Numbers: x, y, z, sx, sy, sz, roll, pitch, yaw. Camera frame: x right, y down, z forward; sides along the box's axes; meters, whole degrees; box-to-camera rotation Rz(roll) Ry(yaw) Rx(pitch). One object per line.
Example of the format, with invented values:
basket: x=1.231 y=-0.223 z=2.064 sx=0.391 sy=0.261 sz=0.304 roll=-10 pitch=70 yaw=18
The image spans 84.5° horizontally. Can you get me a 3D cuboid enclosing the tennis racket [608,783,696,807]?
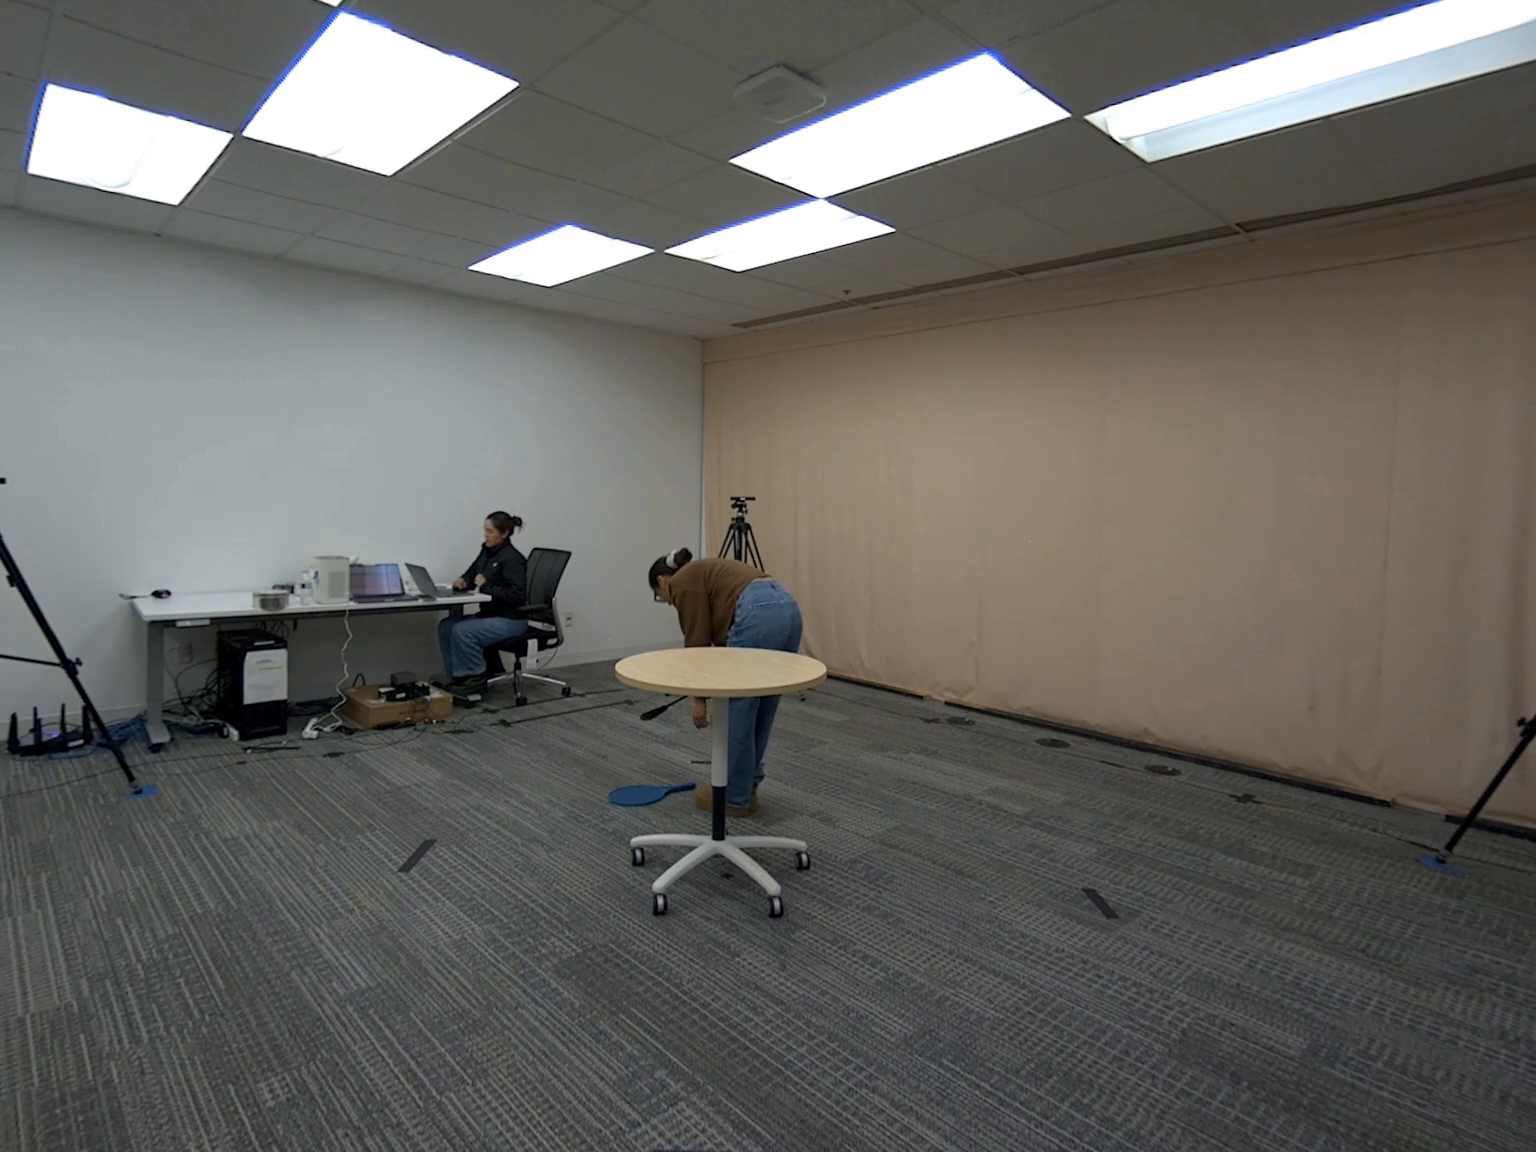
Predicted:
tennis racket: x=-0.543 y=1.002 z=3.927 sx=0.424 sy=0.031 sz=0.218 roll=-2 pitch=7 yaw=-29
